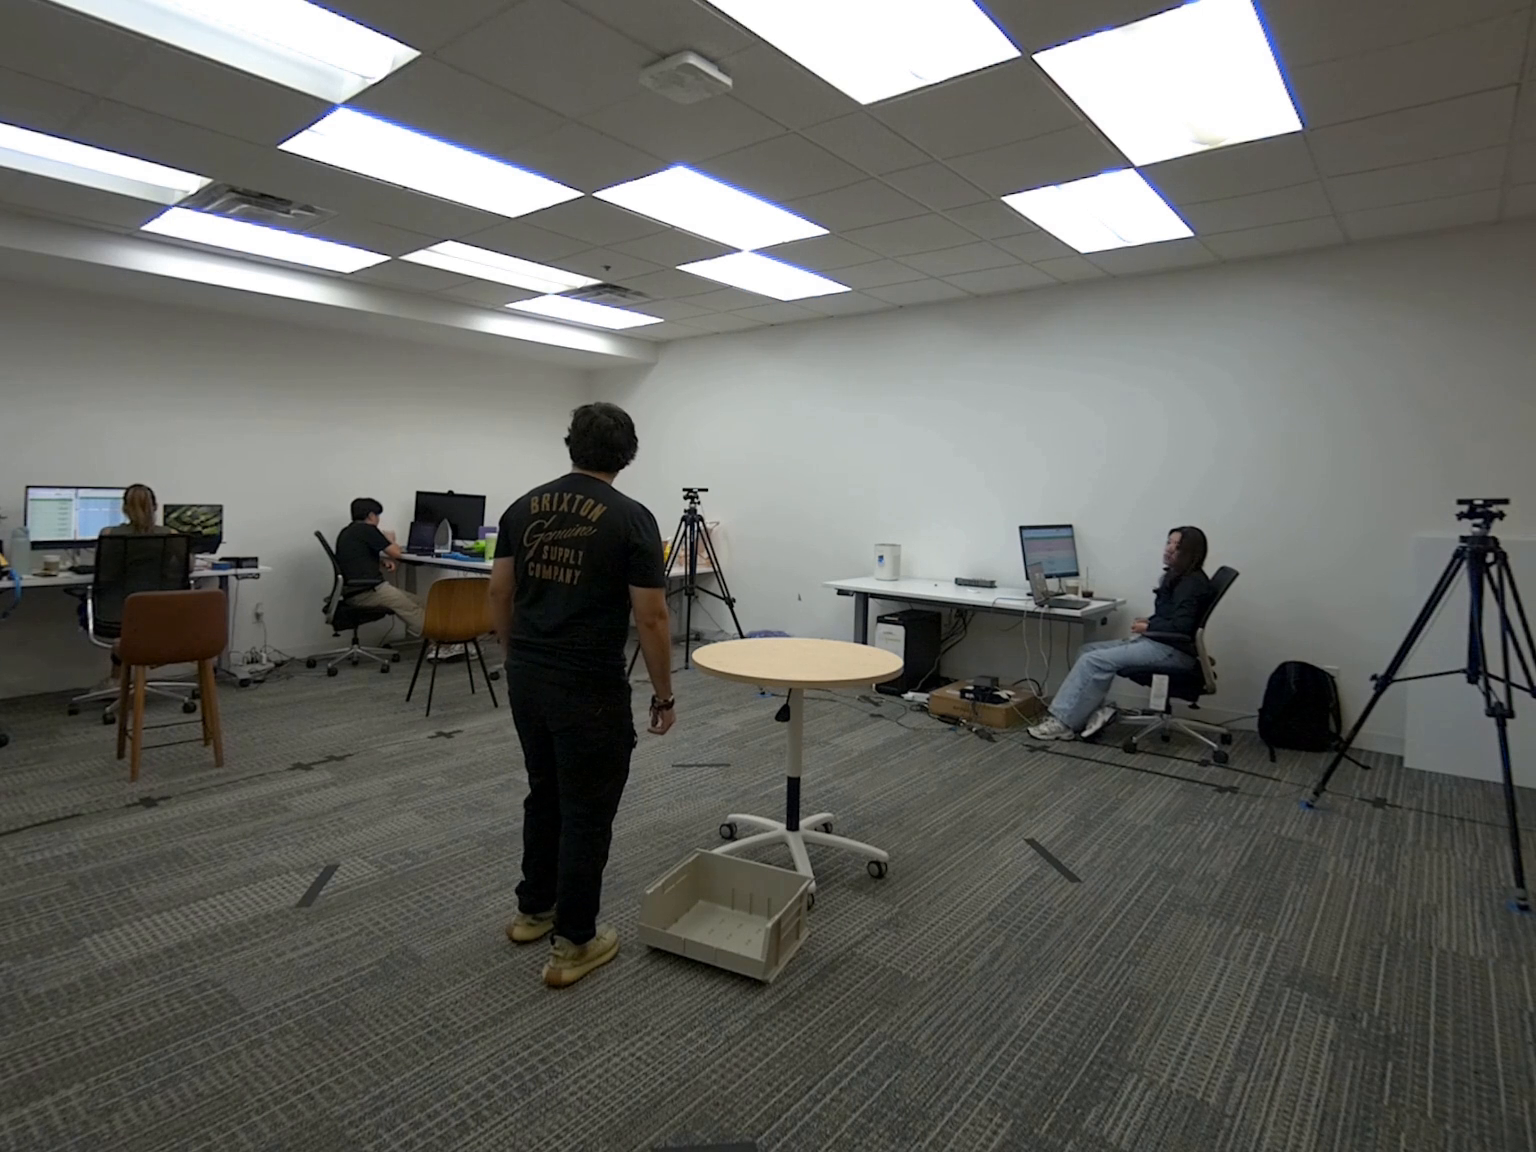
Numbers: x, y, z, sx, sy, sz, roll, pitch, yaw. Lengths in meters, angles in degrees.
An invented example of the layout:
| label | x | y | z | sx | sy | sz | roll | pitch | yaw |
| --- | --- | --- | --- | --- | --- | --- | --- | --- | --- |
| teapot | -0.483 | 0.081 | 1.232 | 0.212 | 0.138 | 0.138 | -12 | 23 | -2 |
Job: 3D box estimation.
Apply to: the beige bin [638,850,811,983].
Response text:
| label | x | y | z | sx | sy | sz | roll | pitch | yaw |
| --- | --- | --- | --- | --- | --- | --- | --- | --- | --- |
| beige bin | -0.130 | 1.031 | 2.599 | 0.433 | 0.188 | 0.368 | 3 | 4 | 26 |
